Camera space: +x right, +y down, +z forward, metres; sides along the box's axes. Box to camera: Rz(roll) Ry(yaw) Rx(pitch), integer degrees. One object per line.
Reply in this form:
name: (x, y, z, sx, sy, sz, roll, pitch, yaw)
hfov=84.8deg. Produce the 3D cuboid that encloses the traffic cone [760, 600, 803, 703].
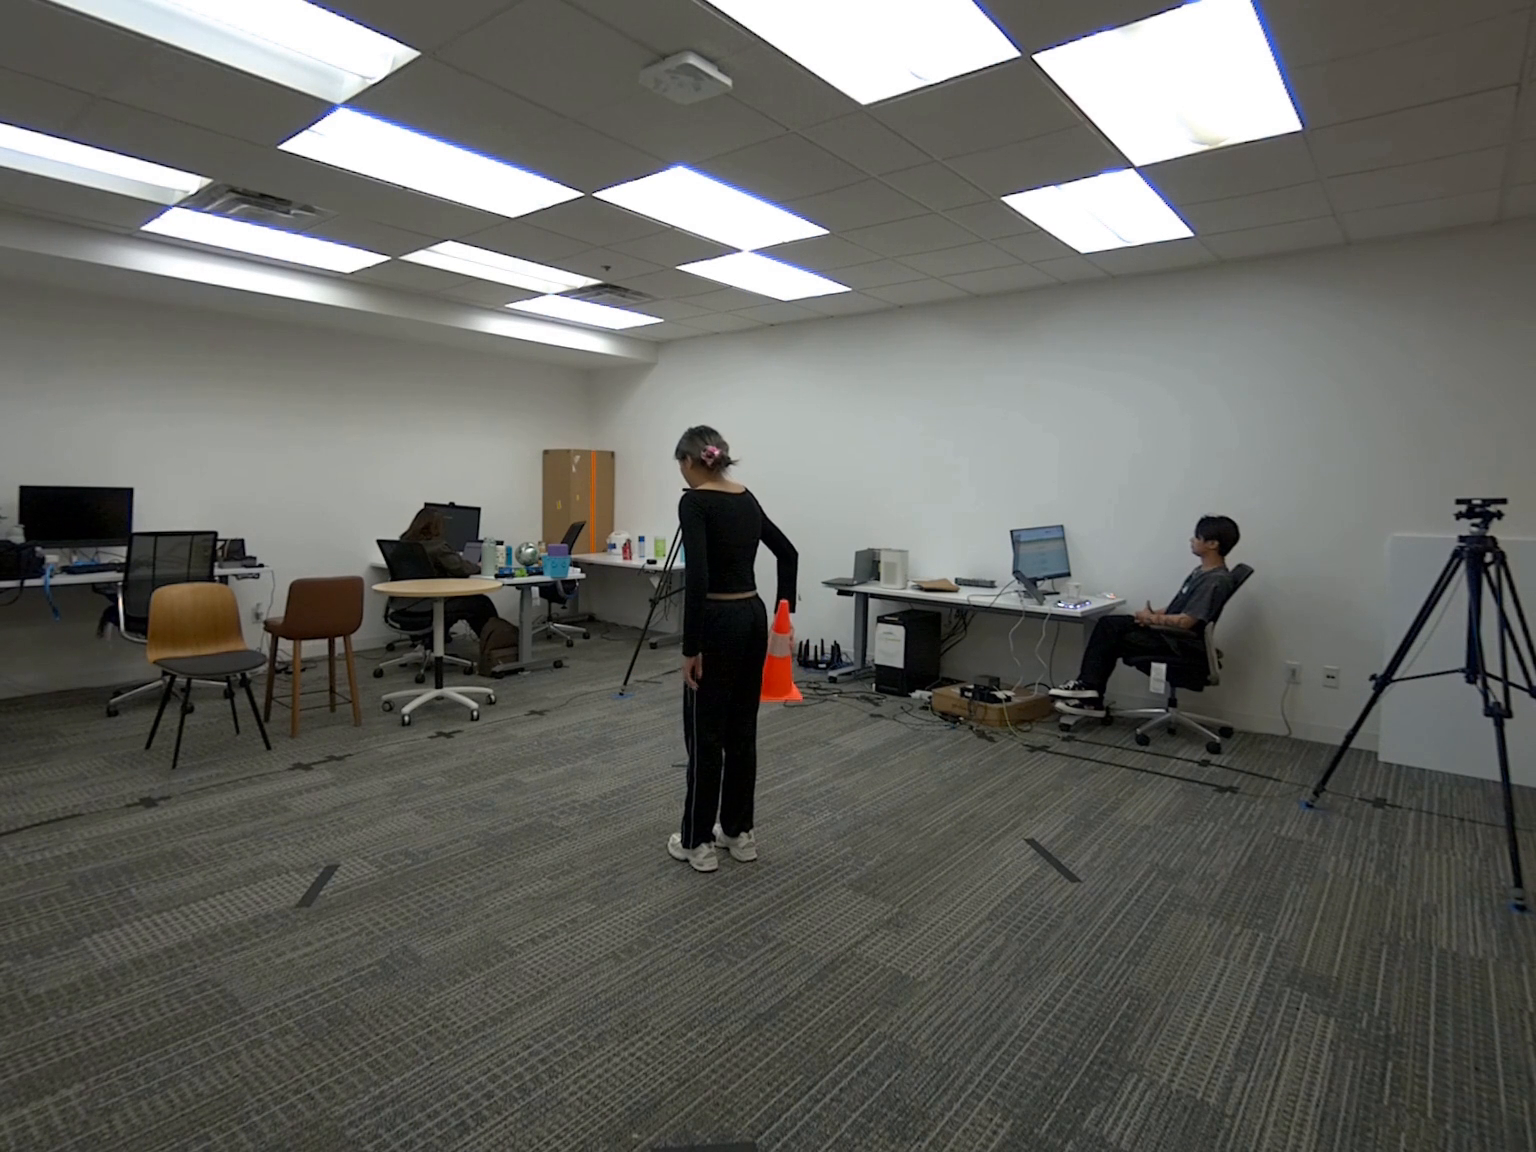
traffic cone: (0.032, 0.271, 3.363, 0.200, 0.378, 0.211, 2, 17, -14)
